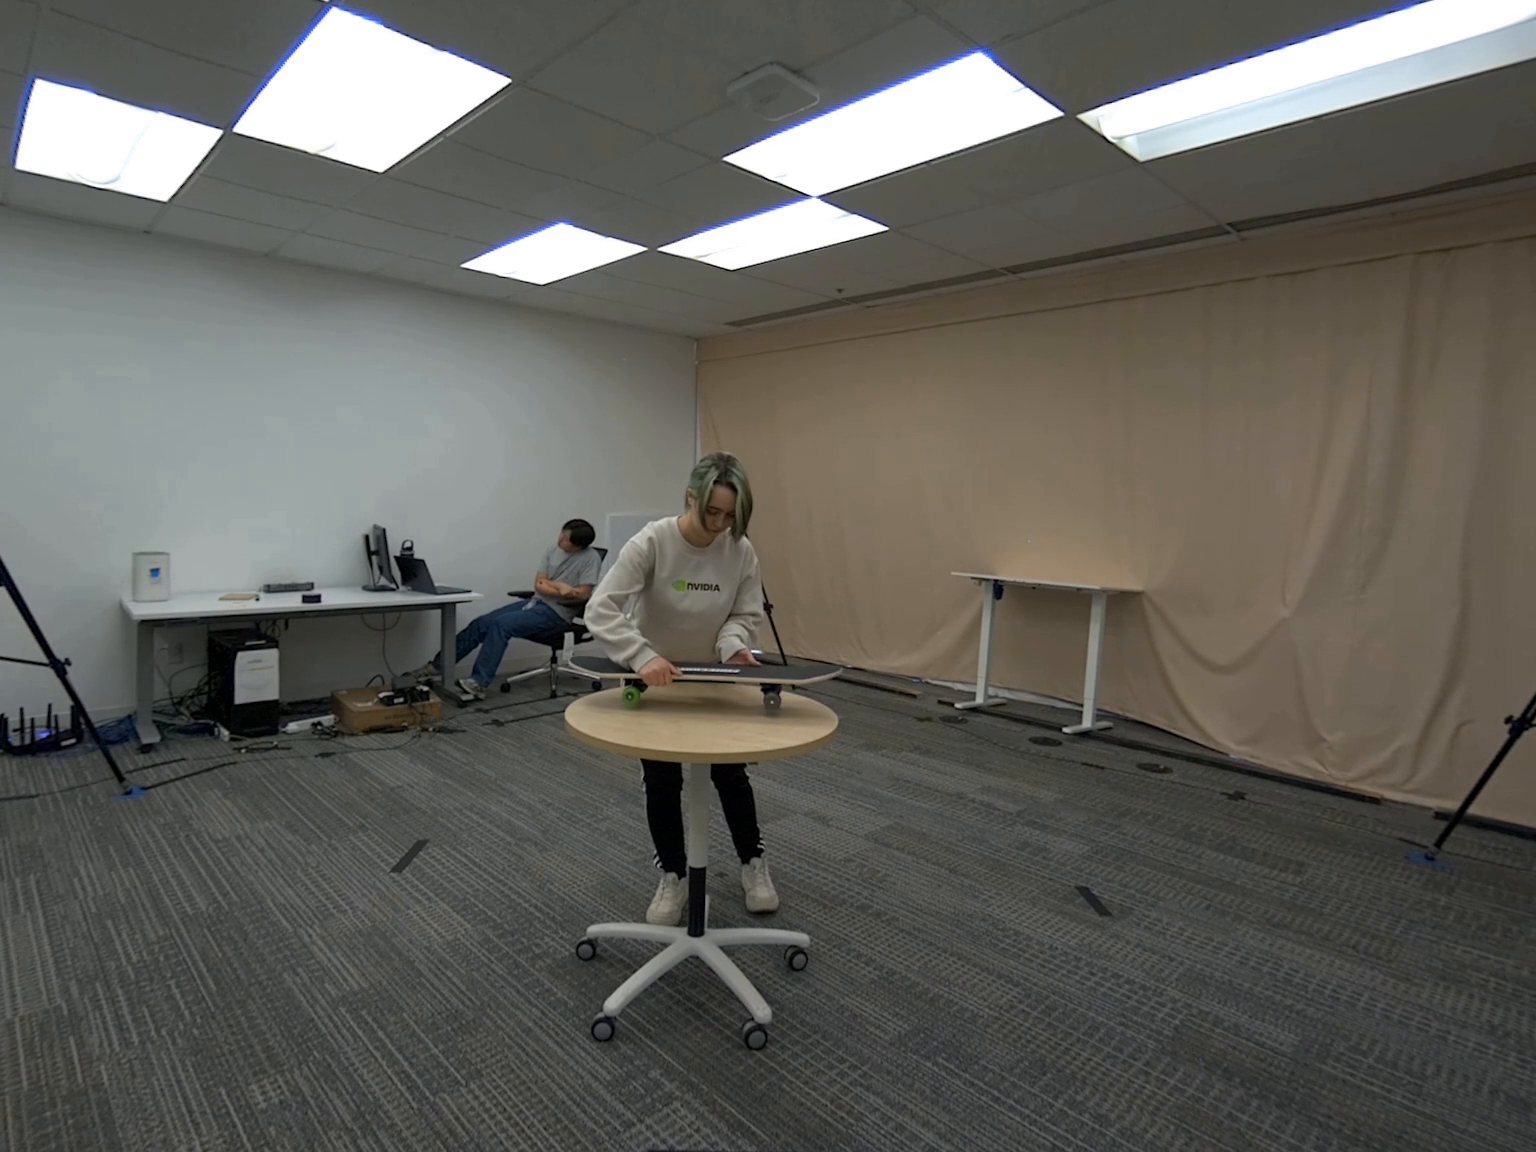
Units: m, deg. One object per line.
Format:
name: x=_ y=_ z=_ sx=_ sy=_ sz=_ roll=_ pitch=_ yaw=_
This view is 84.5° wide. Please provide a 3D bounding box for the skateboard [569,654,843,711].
skateboard: x=-0.191 y=0.310 z=2.415 sx=0.789 sy=0.110 sz=0.193 roll=1 pitch=5 yaw=5
